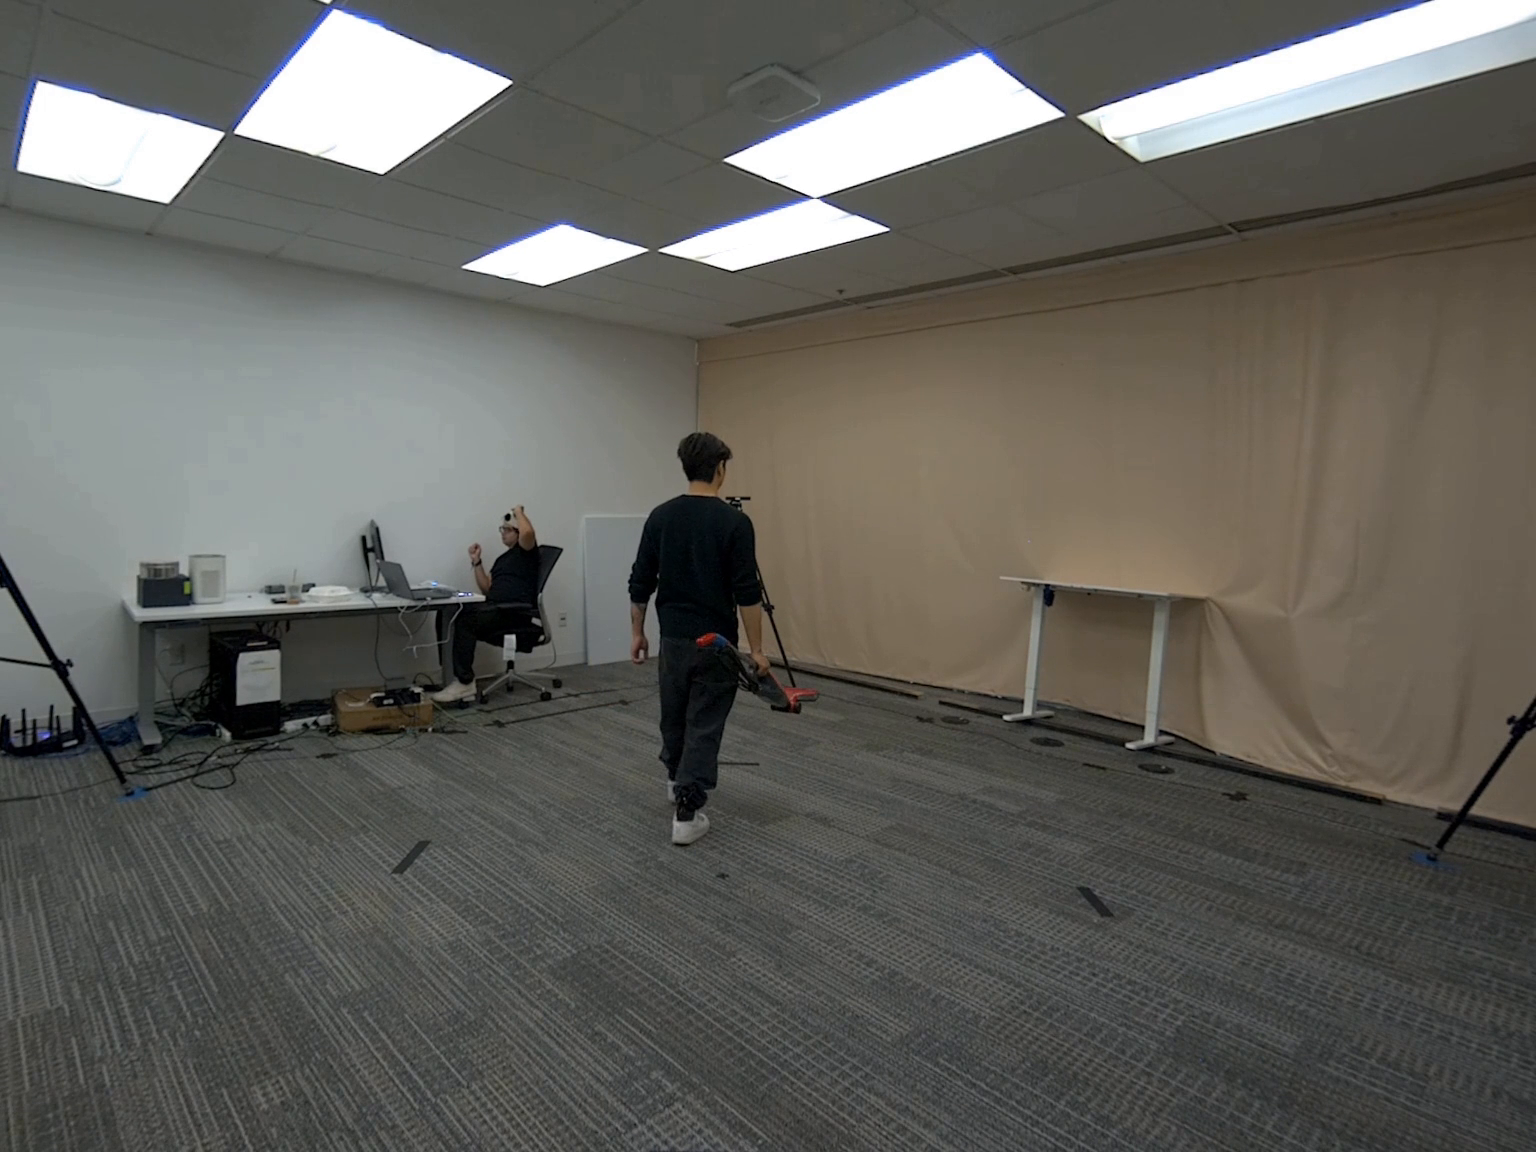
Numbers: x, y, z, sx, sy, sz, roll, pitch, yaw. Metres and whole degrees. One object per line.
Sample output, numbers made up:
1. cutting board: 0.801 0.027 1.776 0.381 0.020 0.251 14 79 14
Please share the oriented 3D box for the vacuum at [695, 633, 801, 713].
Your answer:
1. vacuum: -0.069 0.396 3.406 0.257 0.145 1.021 6 -19 21
